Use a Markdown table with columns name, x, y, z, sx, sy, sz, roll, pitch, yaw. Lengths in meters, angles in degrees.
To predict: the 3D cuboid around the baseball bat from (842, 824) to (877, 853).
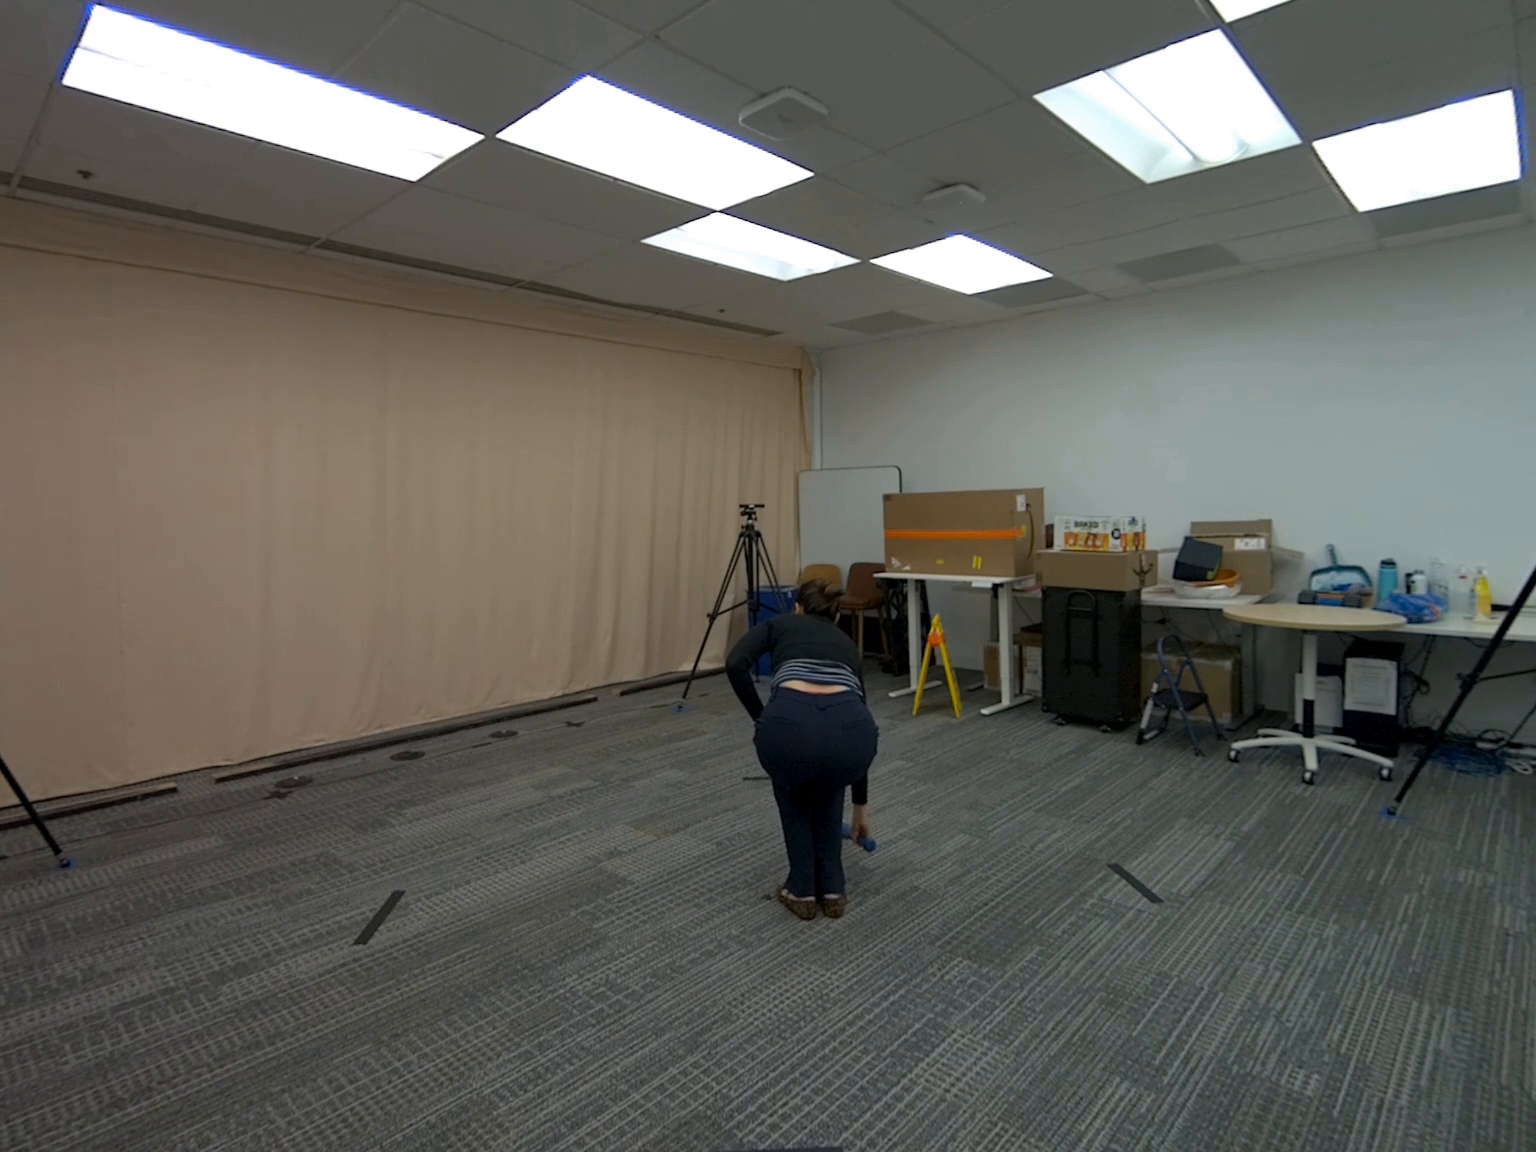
| name | x | y | z | sx | sy | sz | roll | pitch | yaw |
| --- | --- | --- | --- | --- | --- | --- | --- | --- | --- |
| baseball bat | 0.302 | 1.021 | 3.361 | 0.088 | 0.089 | 0.550 | -2 | -3 | -16 |
